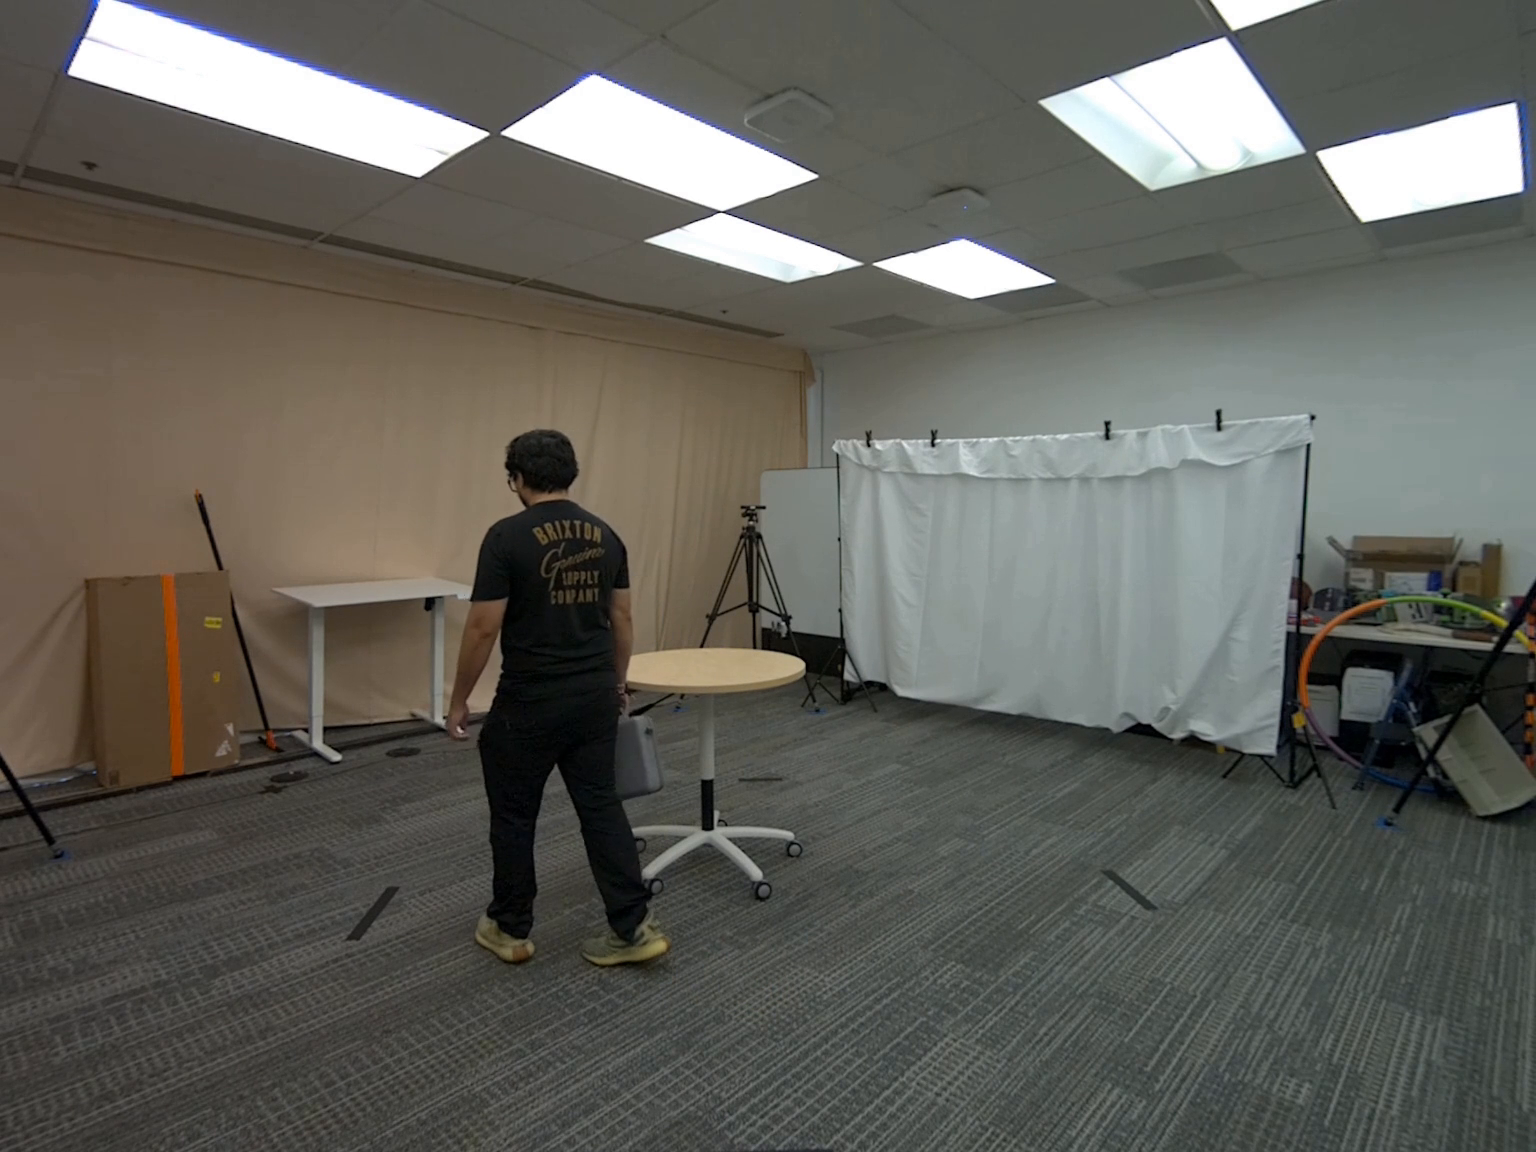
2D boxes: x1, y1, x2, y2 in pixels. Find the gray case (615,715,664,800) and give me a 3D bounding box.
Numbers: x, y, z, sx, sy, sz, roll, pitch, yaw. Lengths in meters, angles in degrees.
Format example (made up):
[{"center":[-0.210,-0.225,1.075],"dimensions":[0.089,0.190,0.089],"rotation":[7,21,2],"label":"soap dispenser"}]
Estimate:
[{"center":[-0.494,0.615,2.822],"dimensions":[0.261,0.263,0.101],"rotation":[-20,-12,22],"label":"gray case"}]
